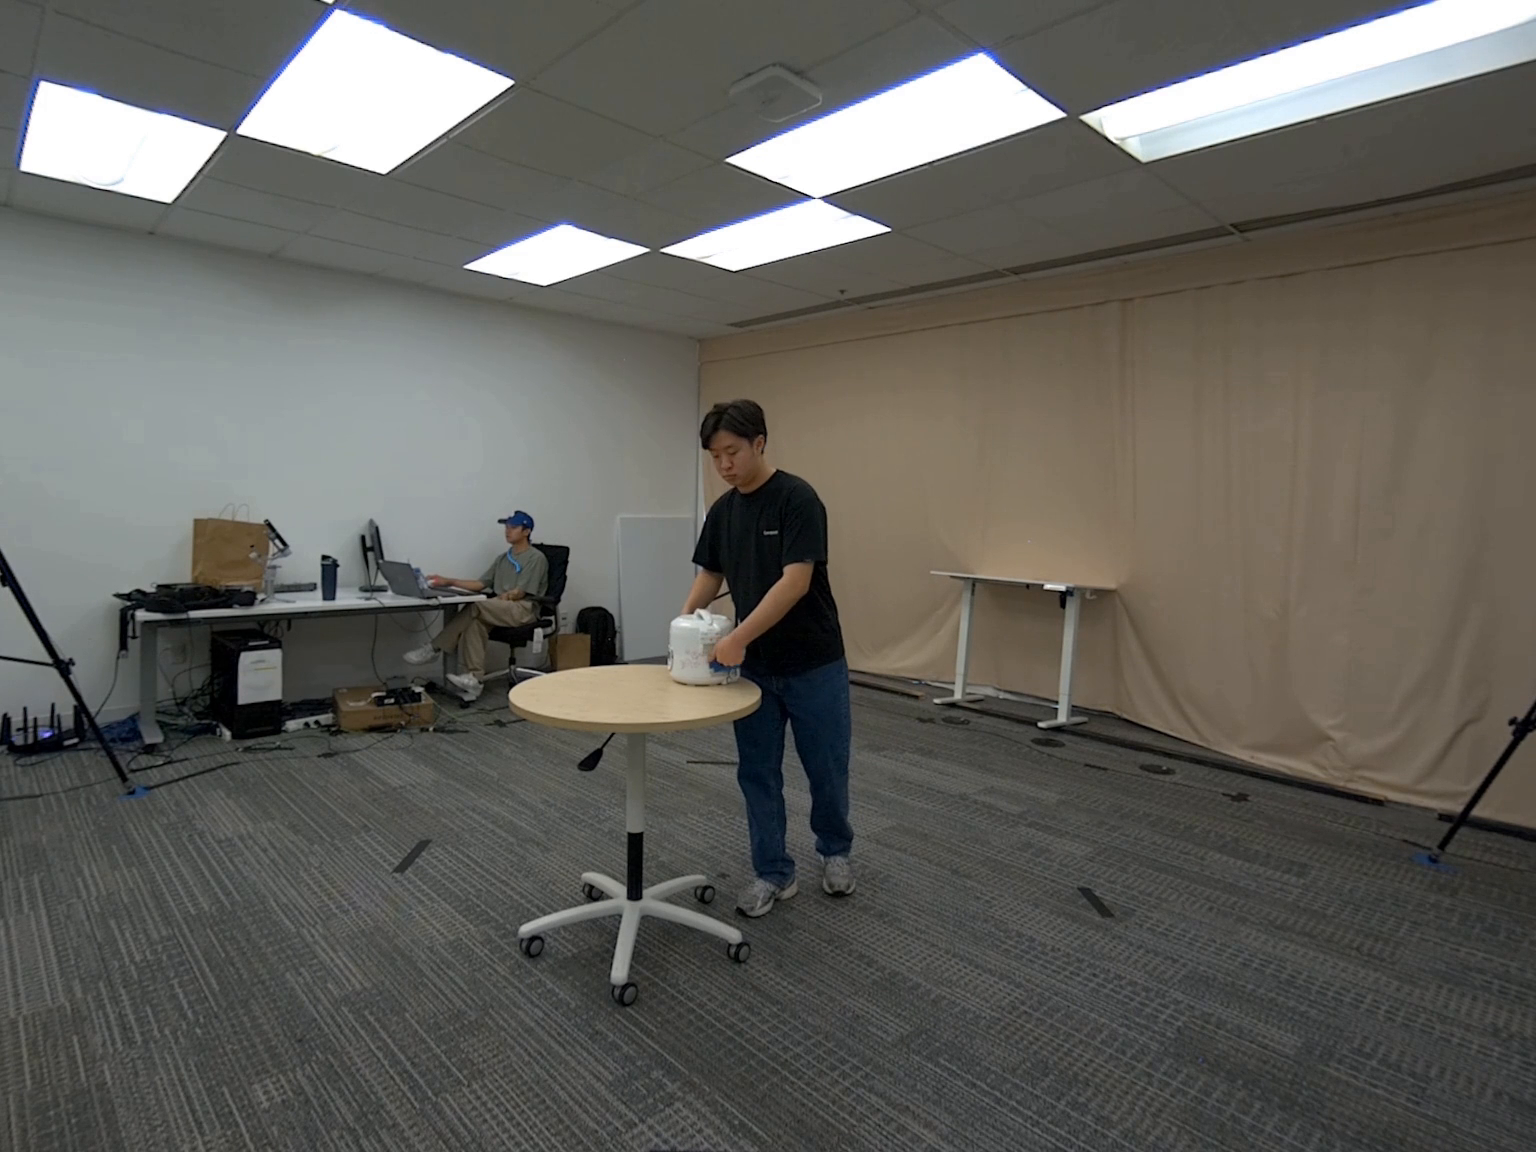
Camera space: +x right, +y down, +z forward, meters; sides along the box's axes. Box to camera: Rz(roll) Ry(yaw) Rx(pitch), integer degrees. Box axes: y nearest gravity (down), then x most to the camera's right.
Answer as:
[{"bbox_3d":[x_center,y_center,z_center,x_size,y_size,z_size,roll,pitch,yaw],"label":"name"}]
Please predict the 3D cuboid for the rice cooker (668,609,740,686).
[{"bbox_3d":[-0.218,0.232,2.716,0.214,0.232,0.224,0,4,-19],"label":"rice cooker"}]
